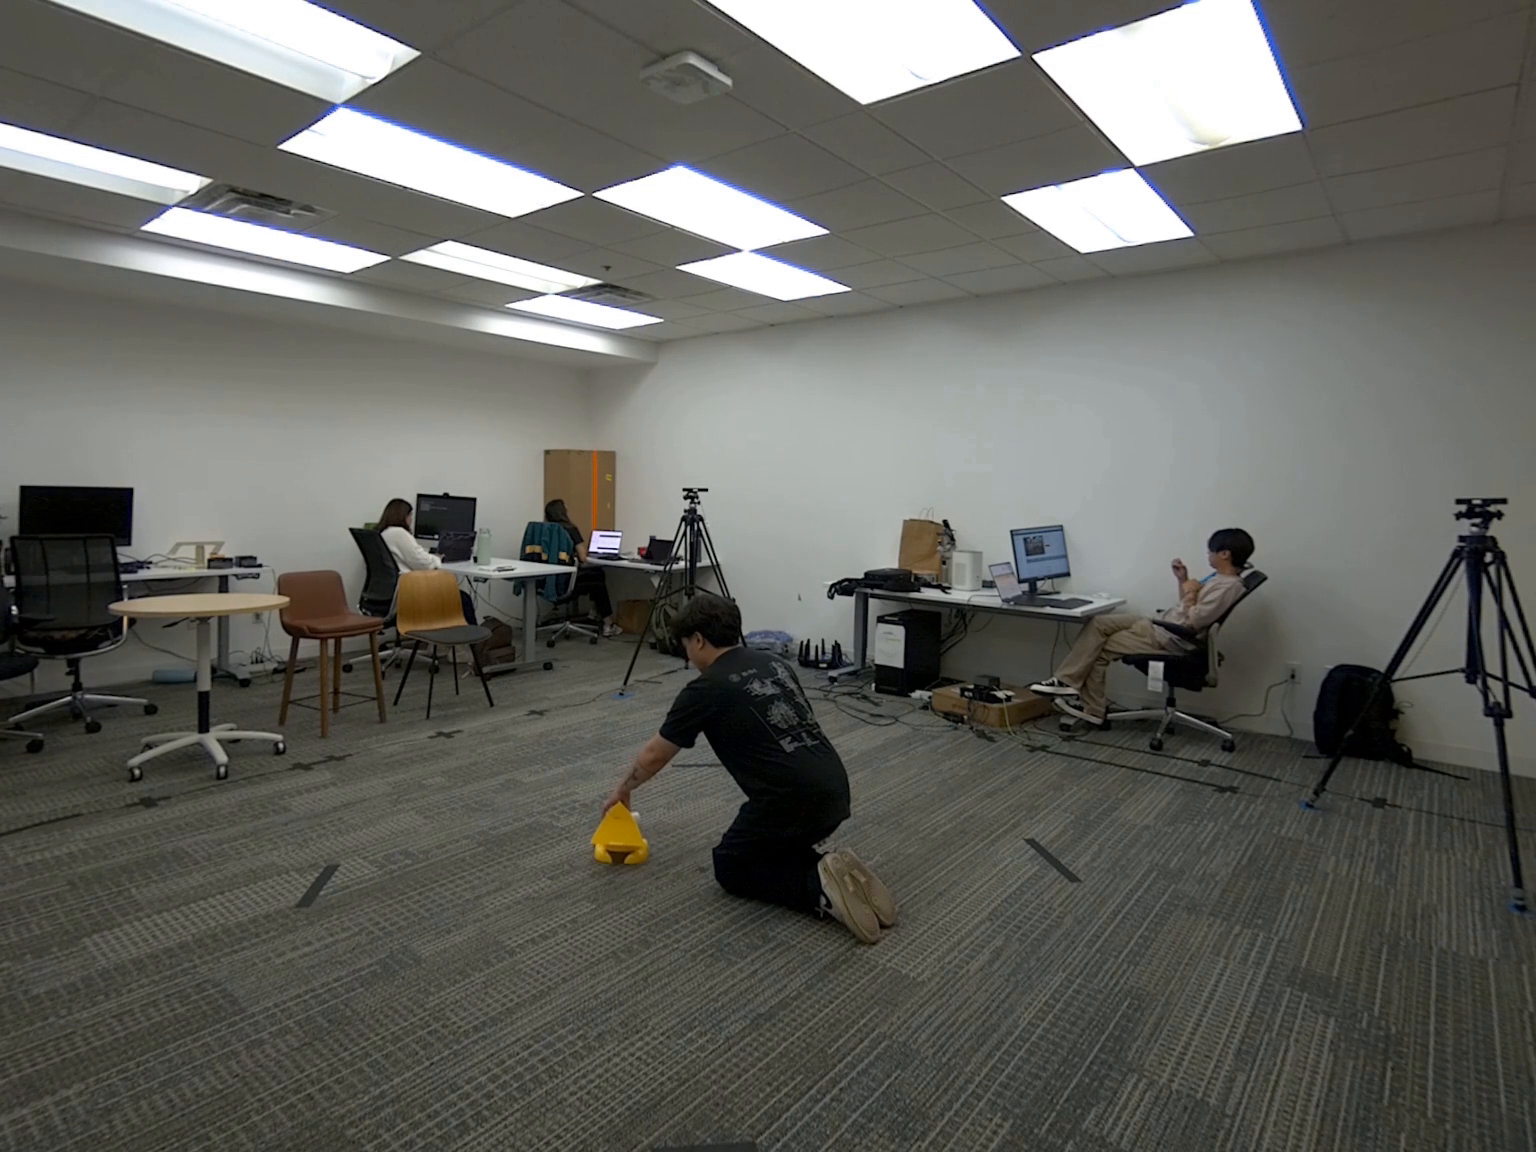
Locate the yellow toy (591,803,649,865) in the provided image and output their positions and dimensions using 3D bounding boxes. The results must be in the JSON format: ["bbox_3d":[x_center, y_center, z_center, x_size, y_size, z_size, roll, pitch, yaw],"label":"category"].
[{"bbox_3d":[-0.563,0.942,3.208,0.206,0.229,0.193,2,6,3],"label":"yellow toy"}]
